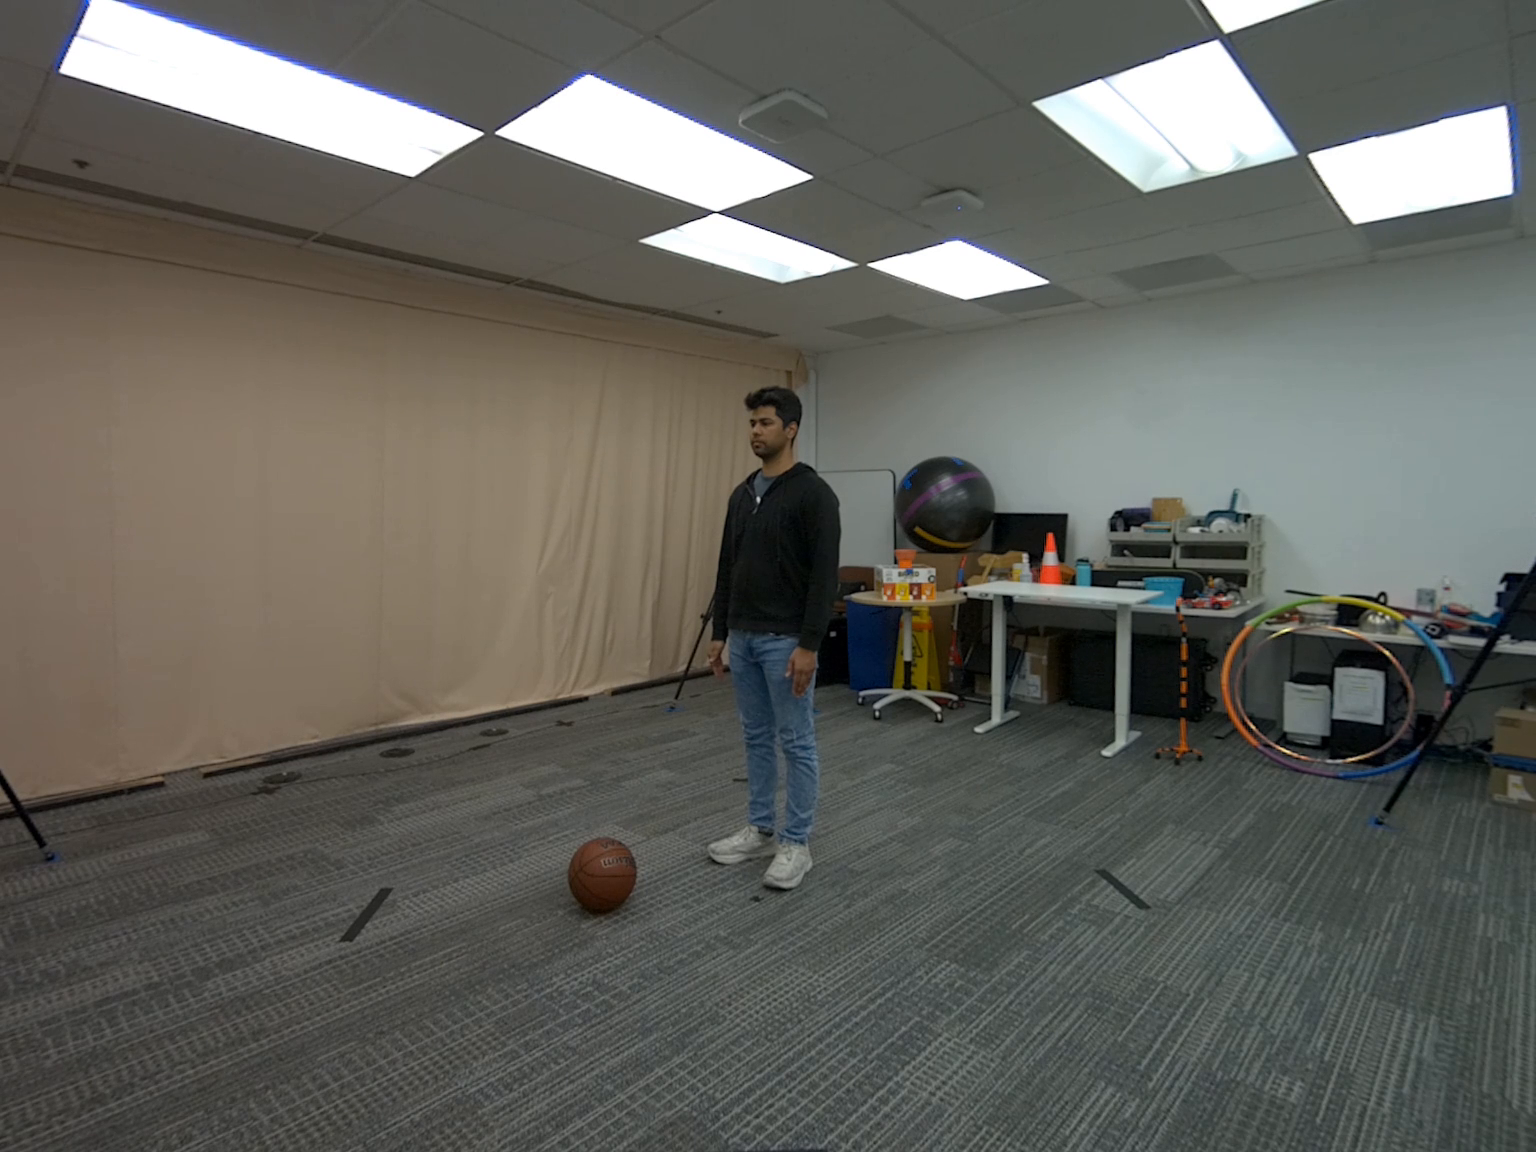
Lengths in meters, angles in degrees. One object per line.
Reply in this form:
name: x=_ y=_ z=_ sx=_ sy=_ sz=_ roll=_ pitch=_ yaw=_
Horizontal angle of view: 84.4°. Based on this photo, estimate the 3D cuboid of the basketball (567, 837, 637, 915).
basketball: x=-0.572 y=1.032 z=2.921 sx=0.236 sy=0.235 sz=0.237 roll=0 pitch=4 yaw=-2
